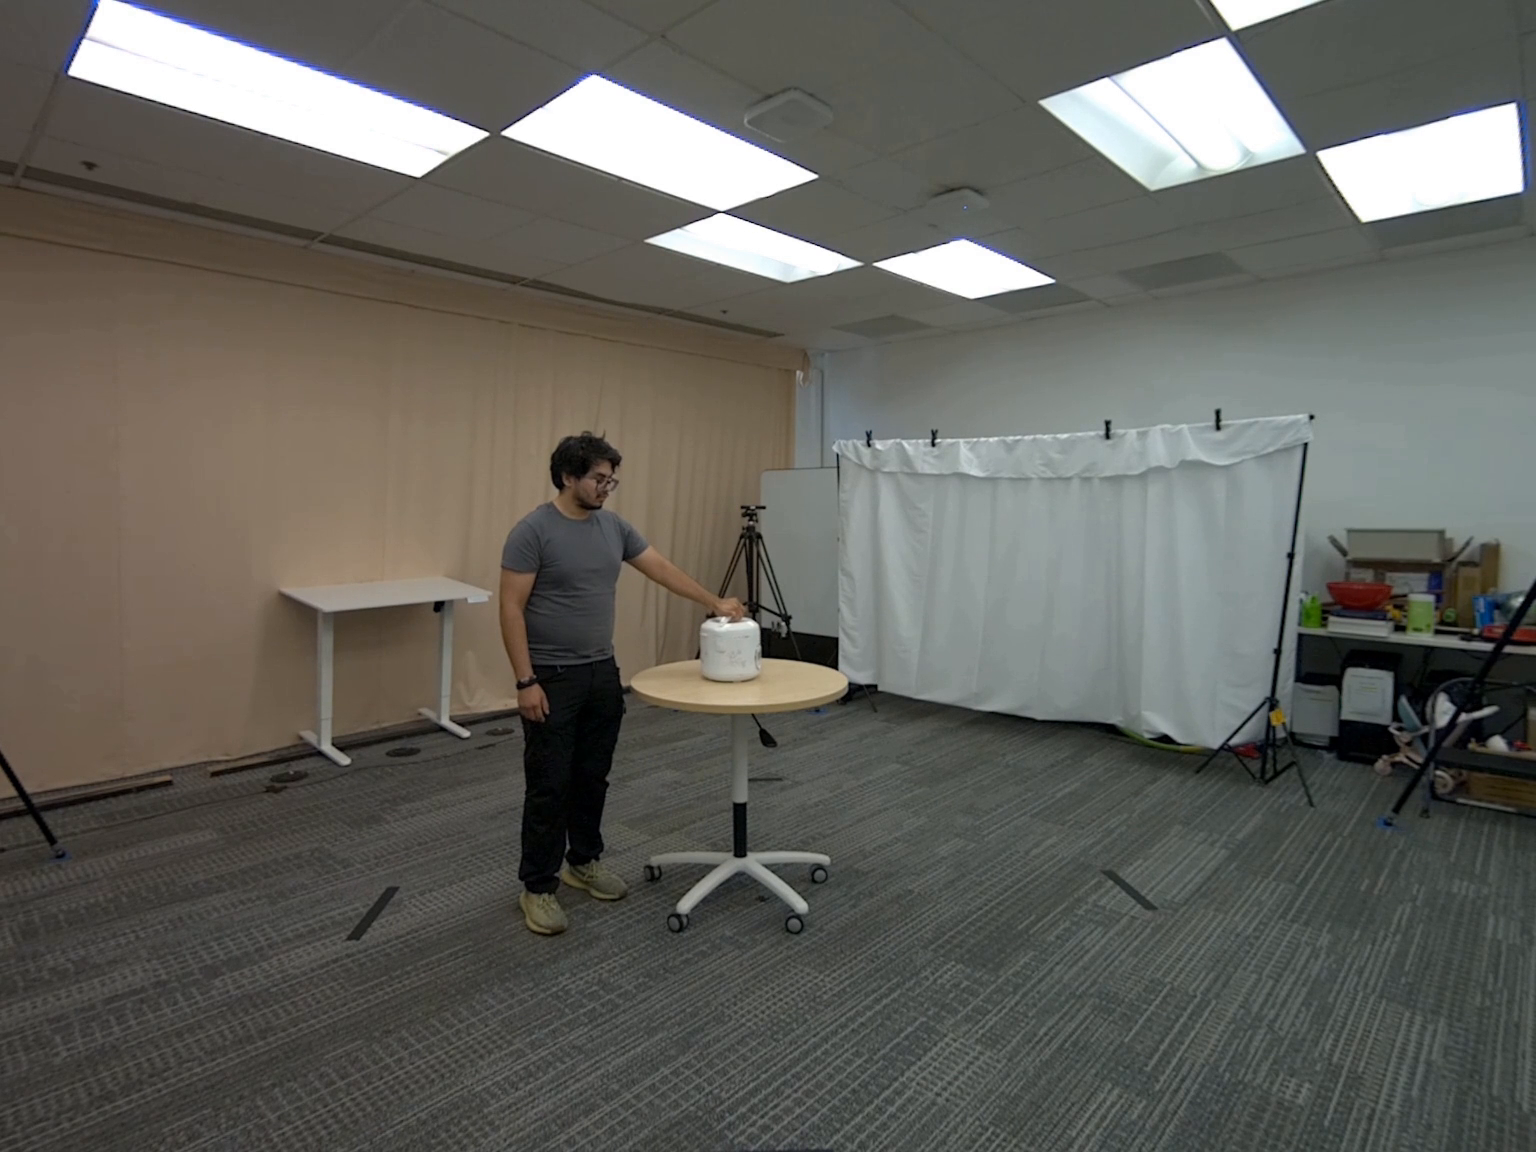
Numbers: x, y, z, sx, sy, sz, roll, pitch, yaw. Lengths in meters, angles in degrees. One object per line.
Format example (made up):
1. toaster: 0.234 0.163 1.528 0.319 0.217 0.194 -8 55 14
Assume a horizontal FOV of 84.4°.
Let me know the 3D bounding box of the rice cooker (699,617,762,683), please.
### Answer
1. rice cooker: -0.128 0.246 2.989 0.222 0.232 0.216 1 4 19
